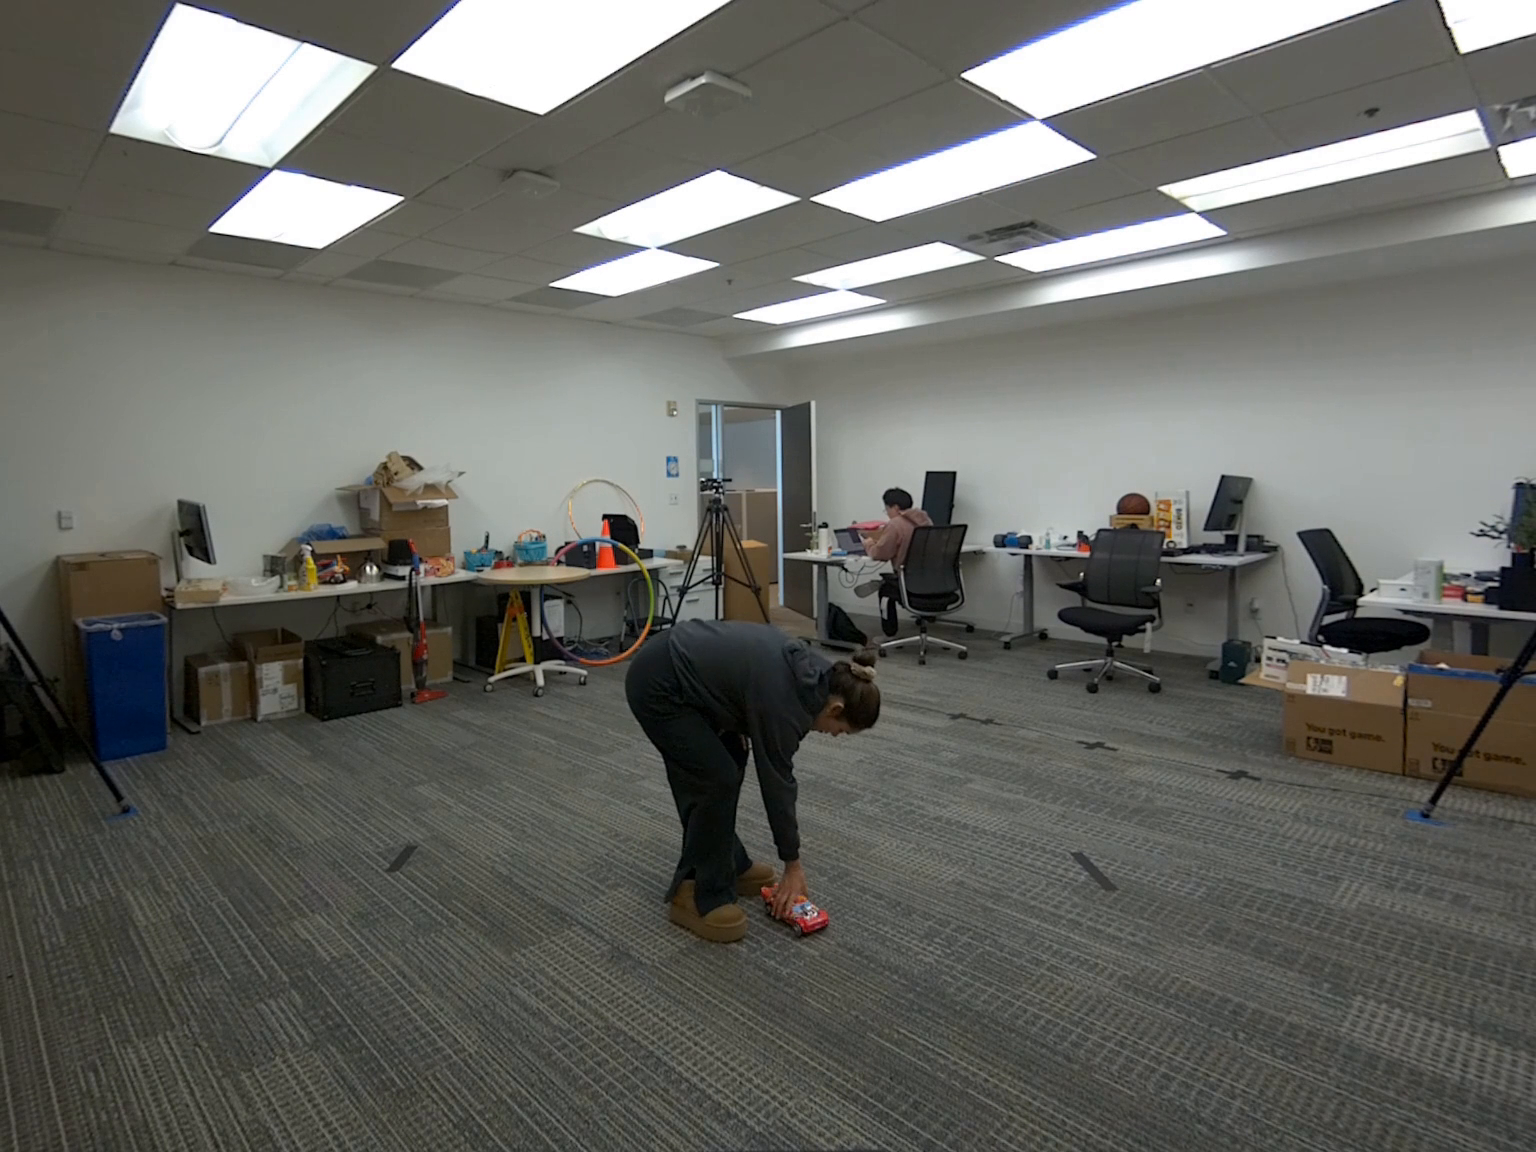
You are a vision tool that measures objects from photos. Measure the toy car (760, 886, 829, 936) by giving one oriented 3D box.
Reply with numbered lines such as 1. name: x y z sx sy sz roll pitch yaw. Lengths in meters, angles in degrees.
1. toy car: 0.071 1.042 2.704 0.127 0.082 0.264 -4 17 -34
